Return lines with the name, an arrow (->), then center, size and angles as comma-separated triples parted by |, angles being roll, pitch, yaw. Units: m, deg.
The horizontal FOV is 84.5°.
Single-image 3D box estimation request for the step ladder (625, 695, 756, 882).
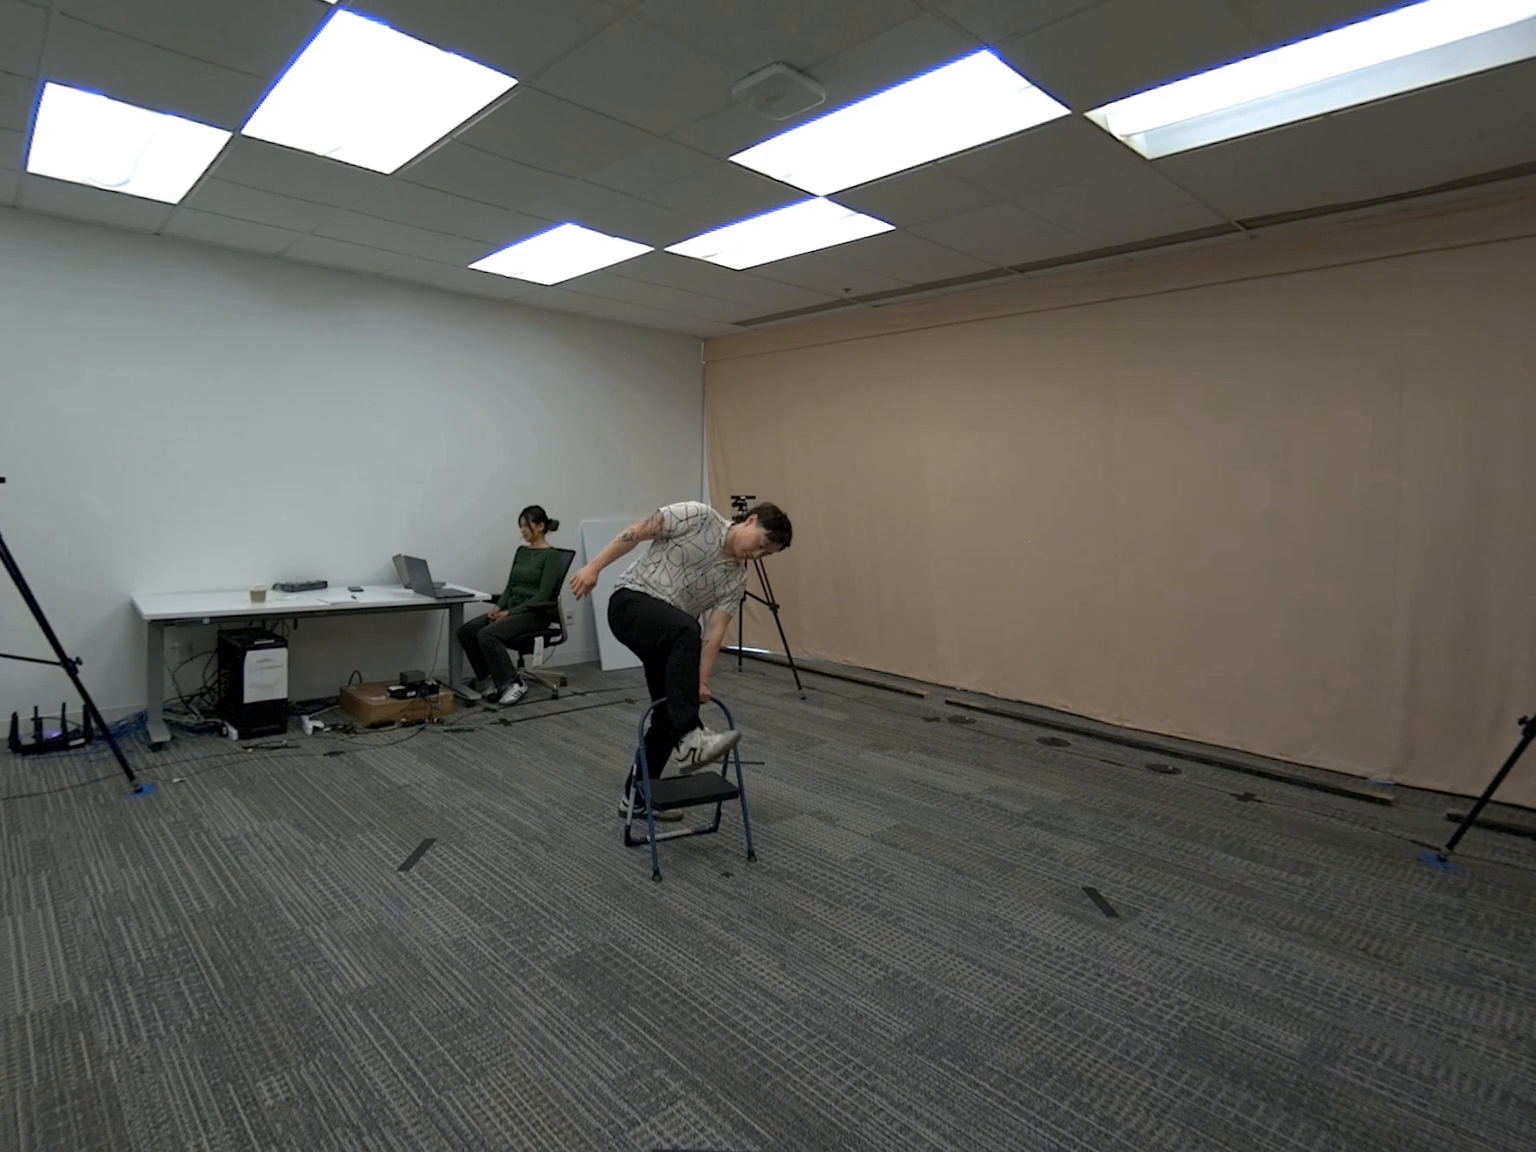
step ladder -> -0.309, 0.777, 3.268 | 0.422, 0.605, 0.357 | -1, 4, -30
